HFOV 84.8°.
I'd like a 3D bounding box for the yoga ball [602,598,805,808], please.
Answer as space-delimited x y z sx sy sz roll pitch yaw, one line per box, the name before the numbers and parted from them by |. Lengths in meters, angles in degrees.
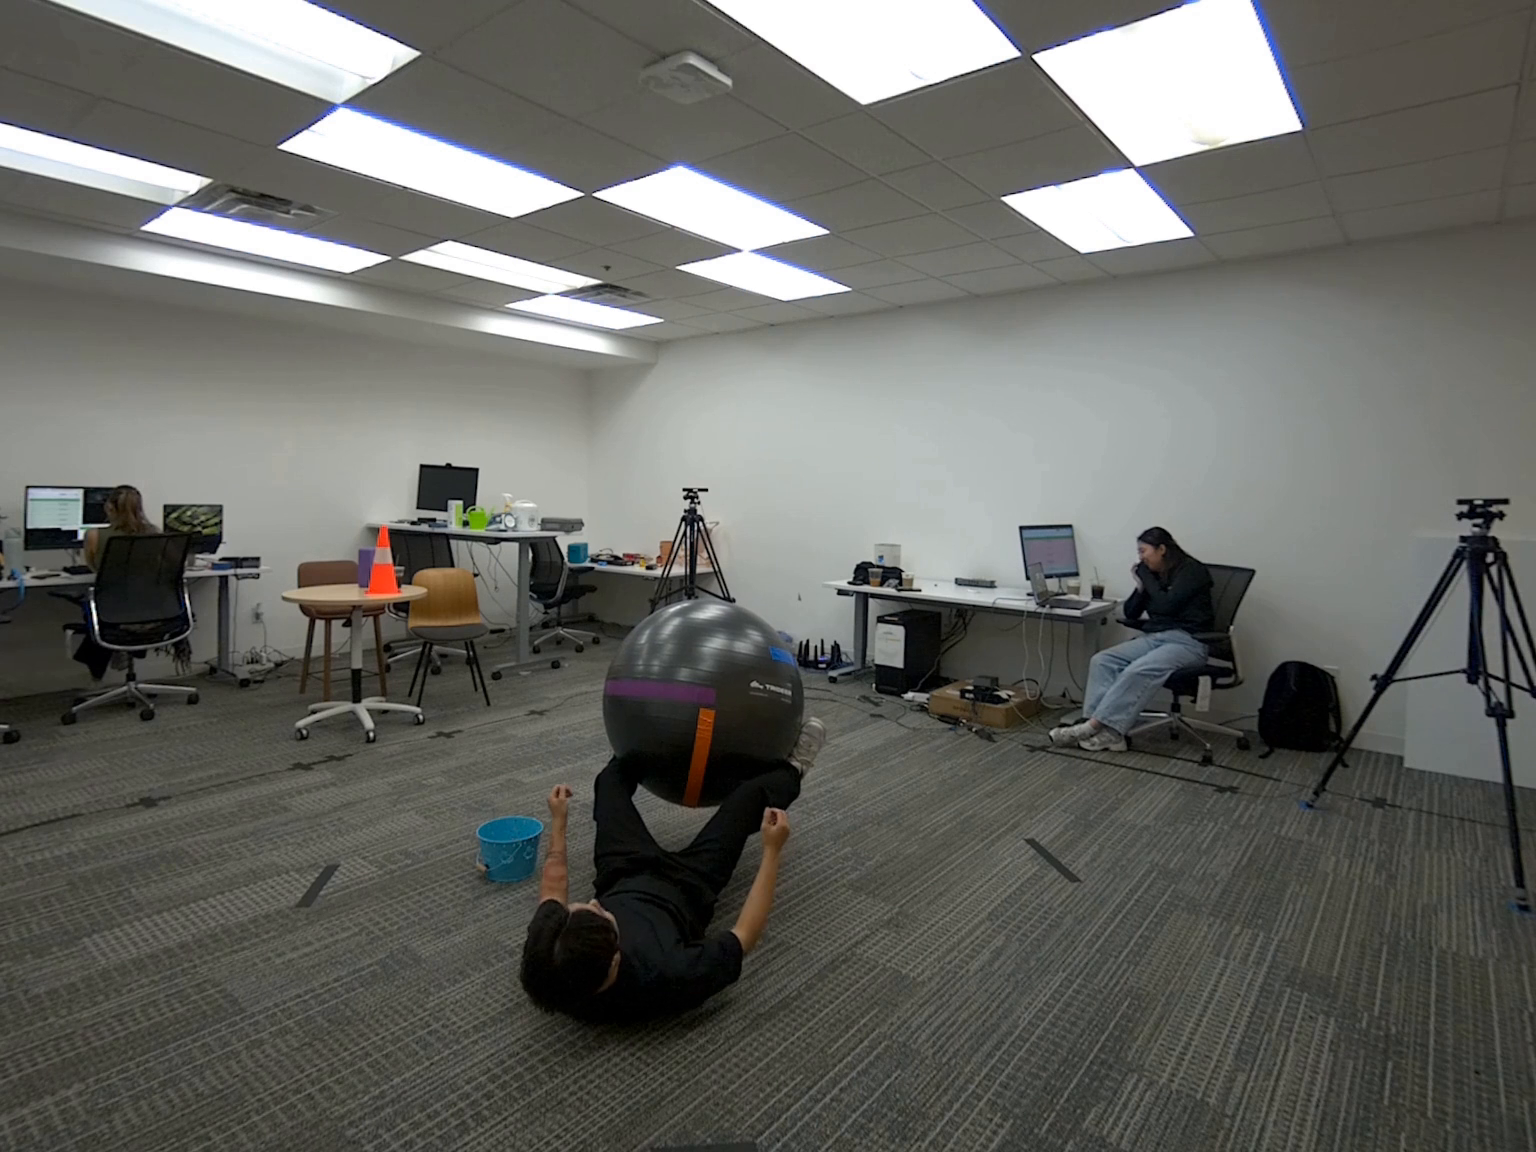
yoga ball | -0.252 0.470 3.199 0.757 0.755 0.762 1 4 -2
